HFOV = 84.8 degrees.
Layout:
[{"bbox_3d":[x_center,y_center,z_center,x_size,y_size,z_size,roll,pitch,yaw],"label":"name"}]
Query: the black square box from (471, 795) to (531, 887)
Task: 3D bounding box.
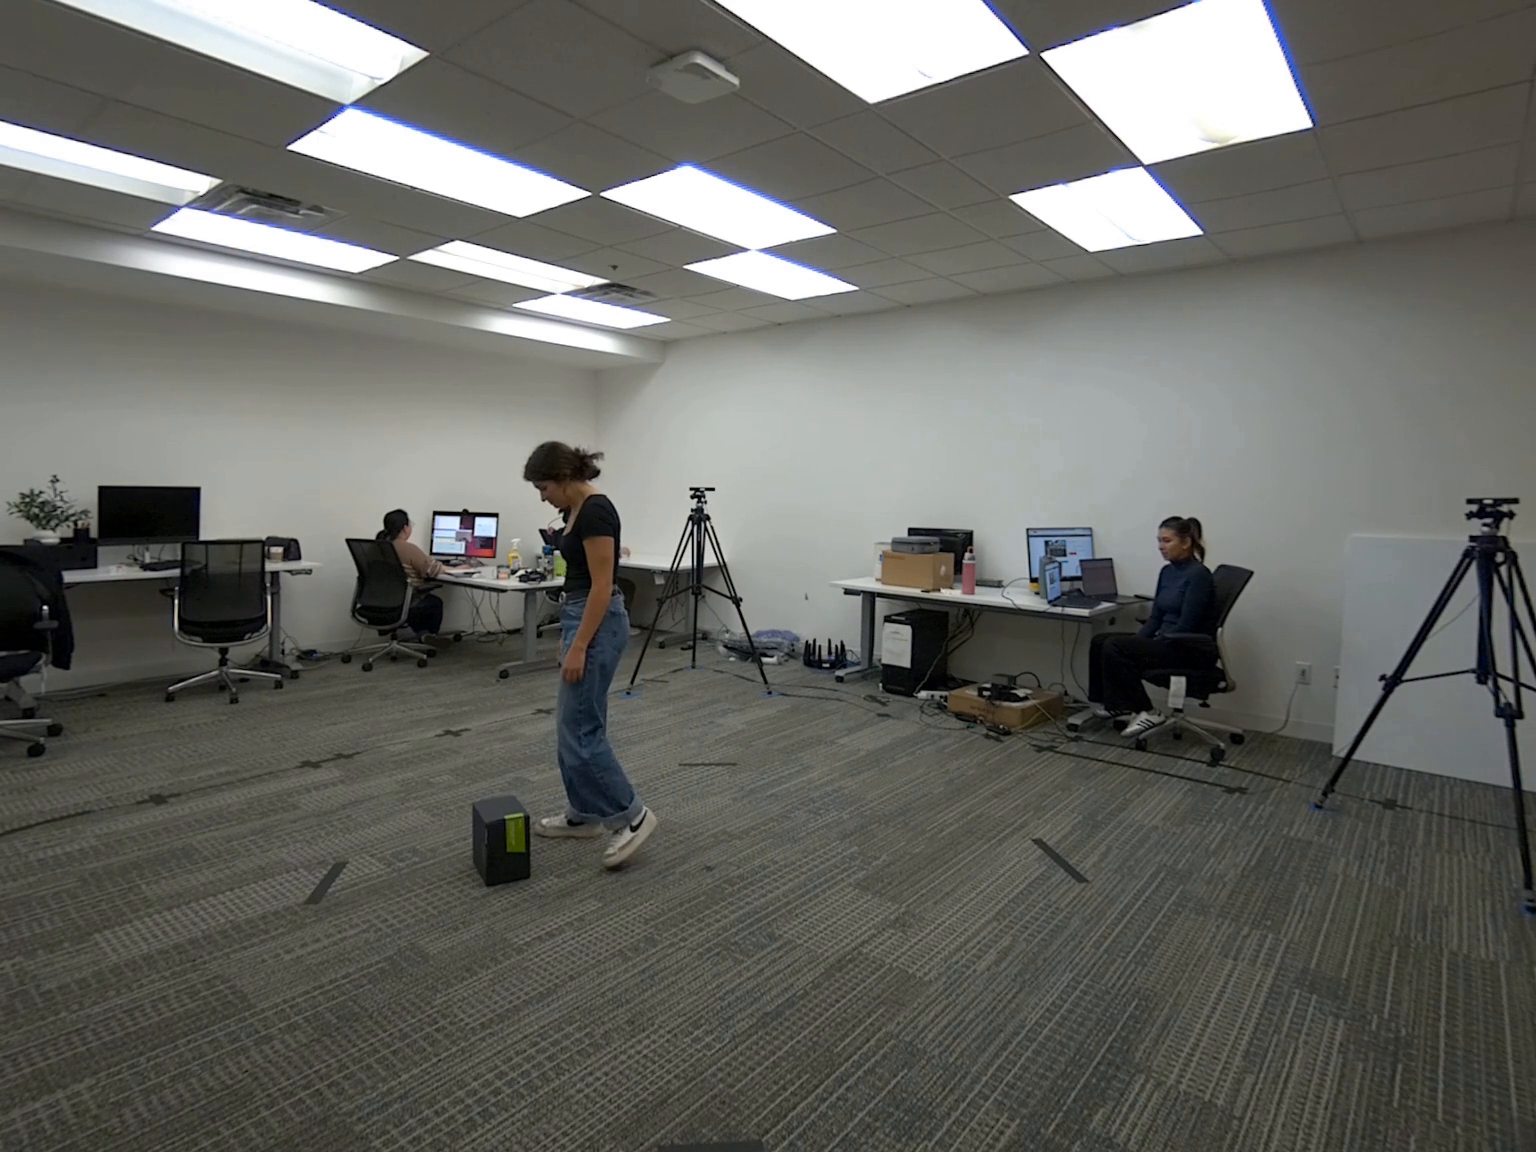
[{"bbox_3d":[-0.971,0.940,3.051,0.152,0.227,0.224,-2,6,-30],"label":"black square box"}]
